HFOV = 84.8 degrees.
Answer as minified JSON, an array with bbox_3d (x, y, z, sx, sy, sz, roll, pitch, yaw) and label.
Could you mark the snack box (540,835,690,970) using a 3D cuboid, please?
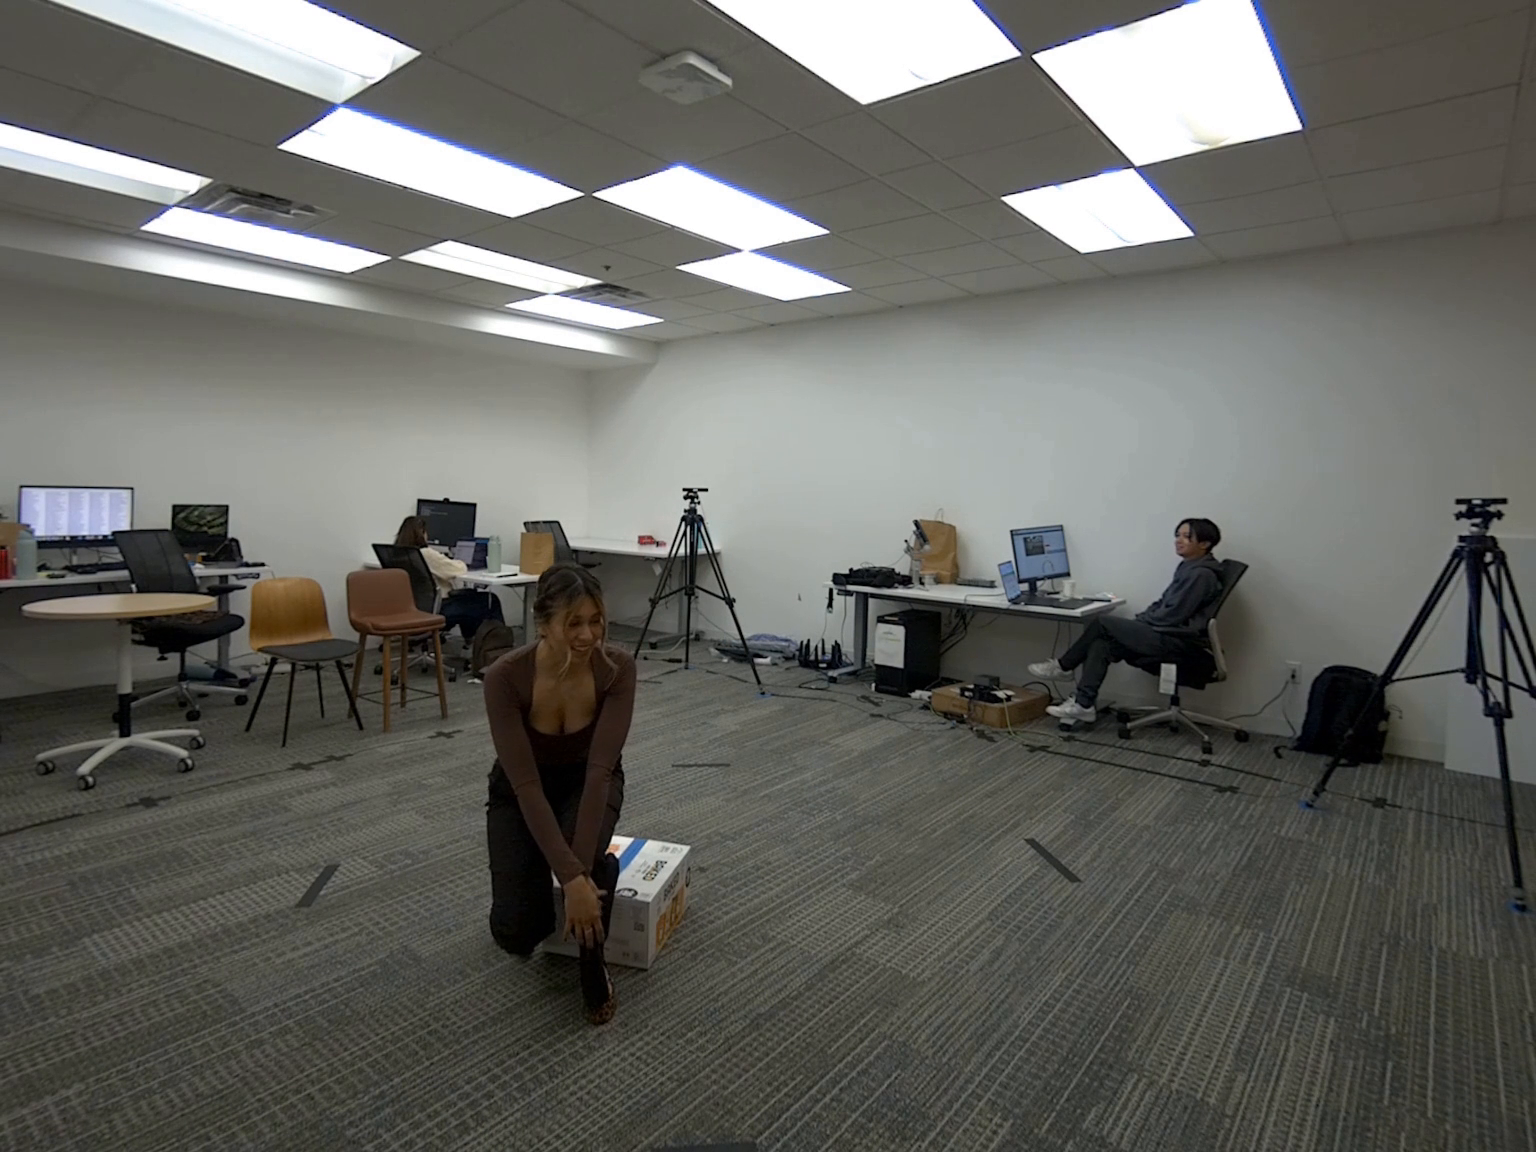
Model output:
[{"bbox_3d":[-0.472,1.006,2.671,0.346,0.205,0.400,2,5,13],"label":"snack box"}]
